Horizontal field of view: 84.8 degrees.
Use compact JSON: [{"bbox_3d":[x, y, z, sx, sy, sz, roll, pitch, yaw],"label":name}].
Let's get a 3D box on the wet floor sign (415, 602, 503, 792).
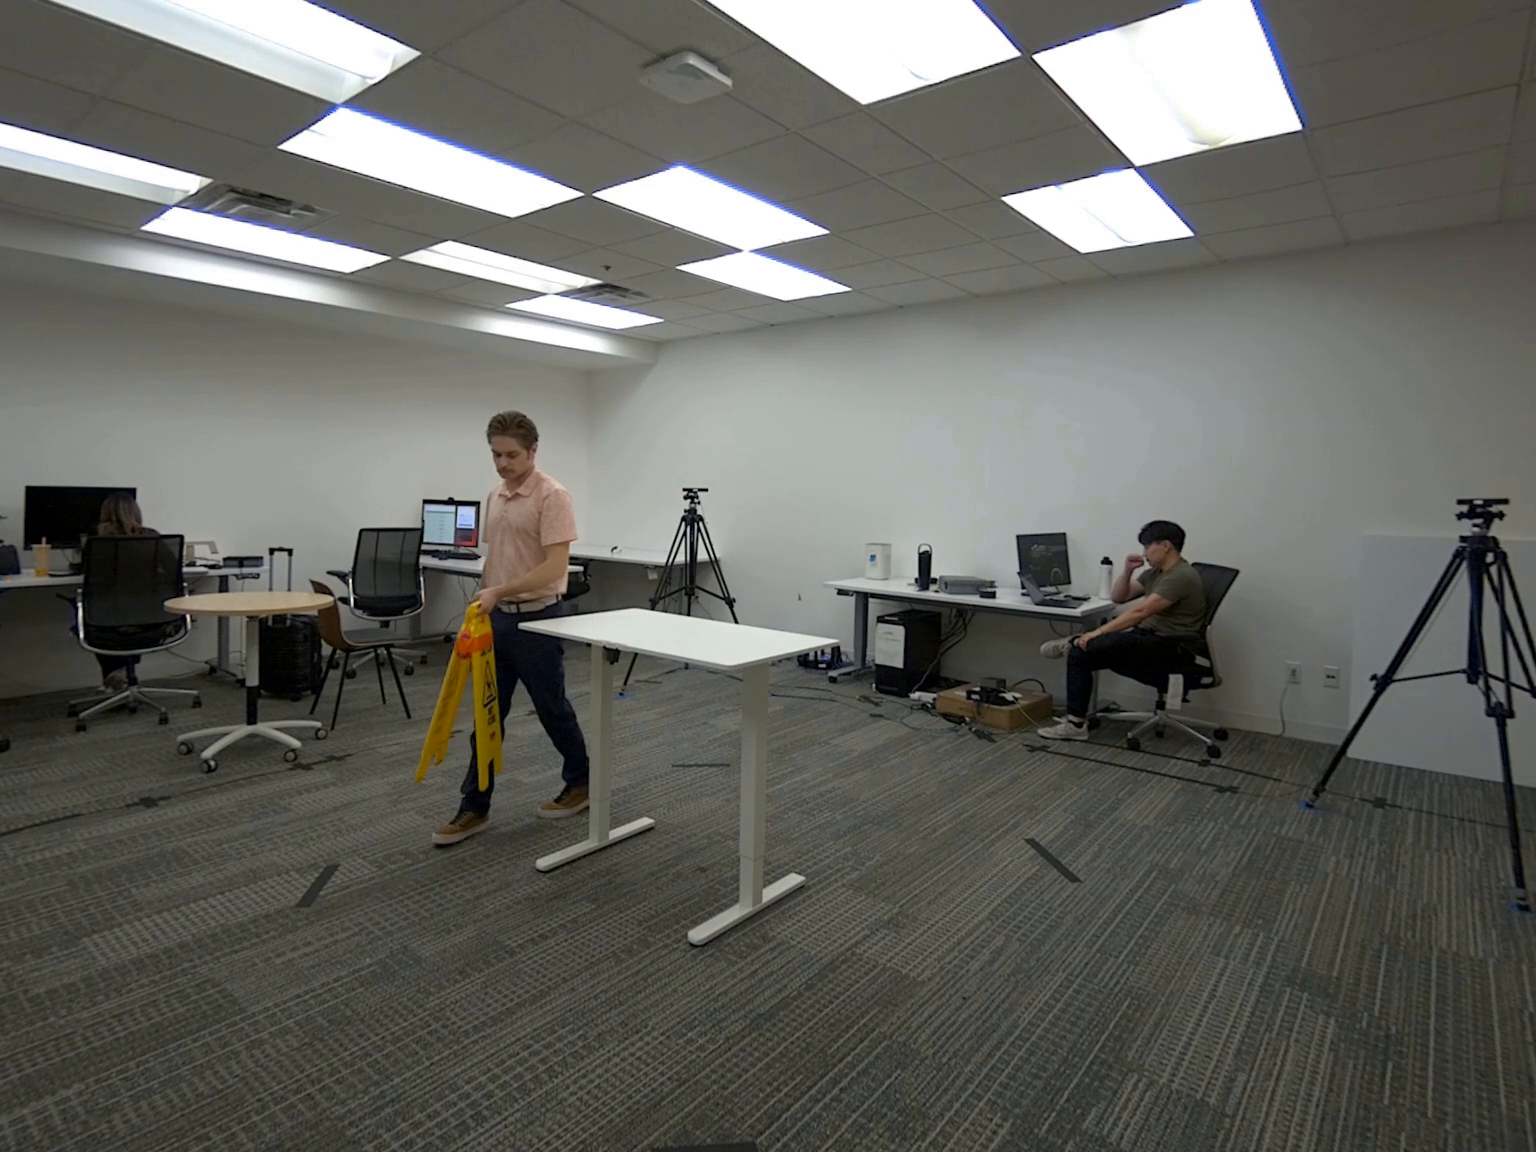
[{"bbox_3d":[-1.124,0.414,3.130,0.289,0.646,0.283,6,0,-3],"label":"wet floor sign"}]
